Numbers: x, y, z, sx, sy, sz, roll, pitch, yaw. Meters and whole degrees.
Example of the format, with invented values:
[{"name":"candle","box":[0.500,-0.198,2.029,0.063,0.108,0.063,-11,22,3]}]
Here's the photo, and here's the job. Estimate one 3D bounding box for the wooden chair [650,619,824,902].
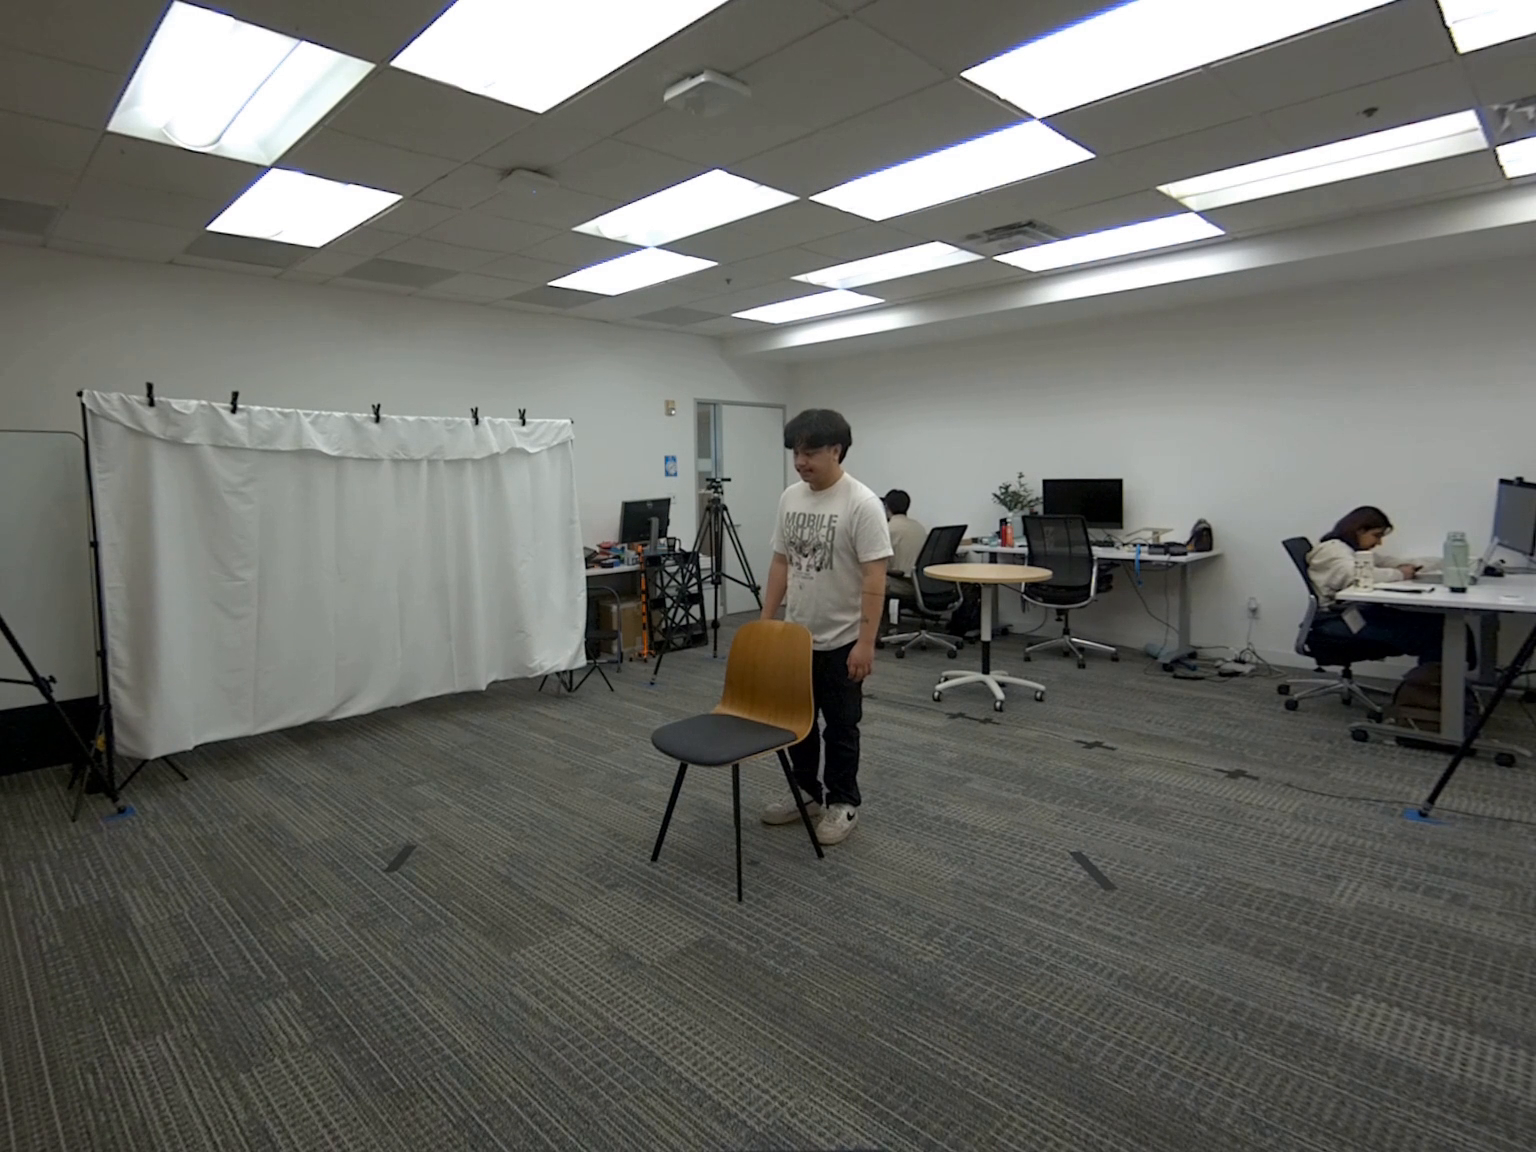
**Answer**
[{"name":"wooden chair","box":[-0.121,0.617,3.090,0.493,0.876,0.508,4,2,43]}]
